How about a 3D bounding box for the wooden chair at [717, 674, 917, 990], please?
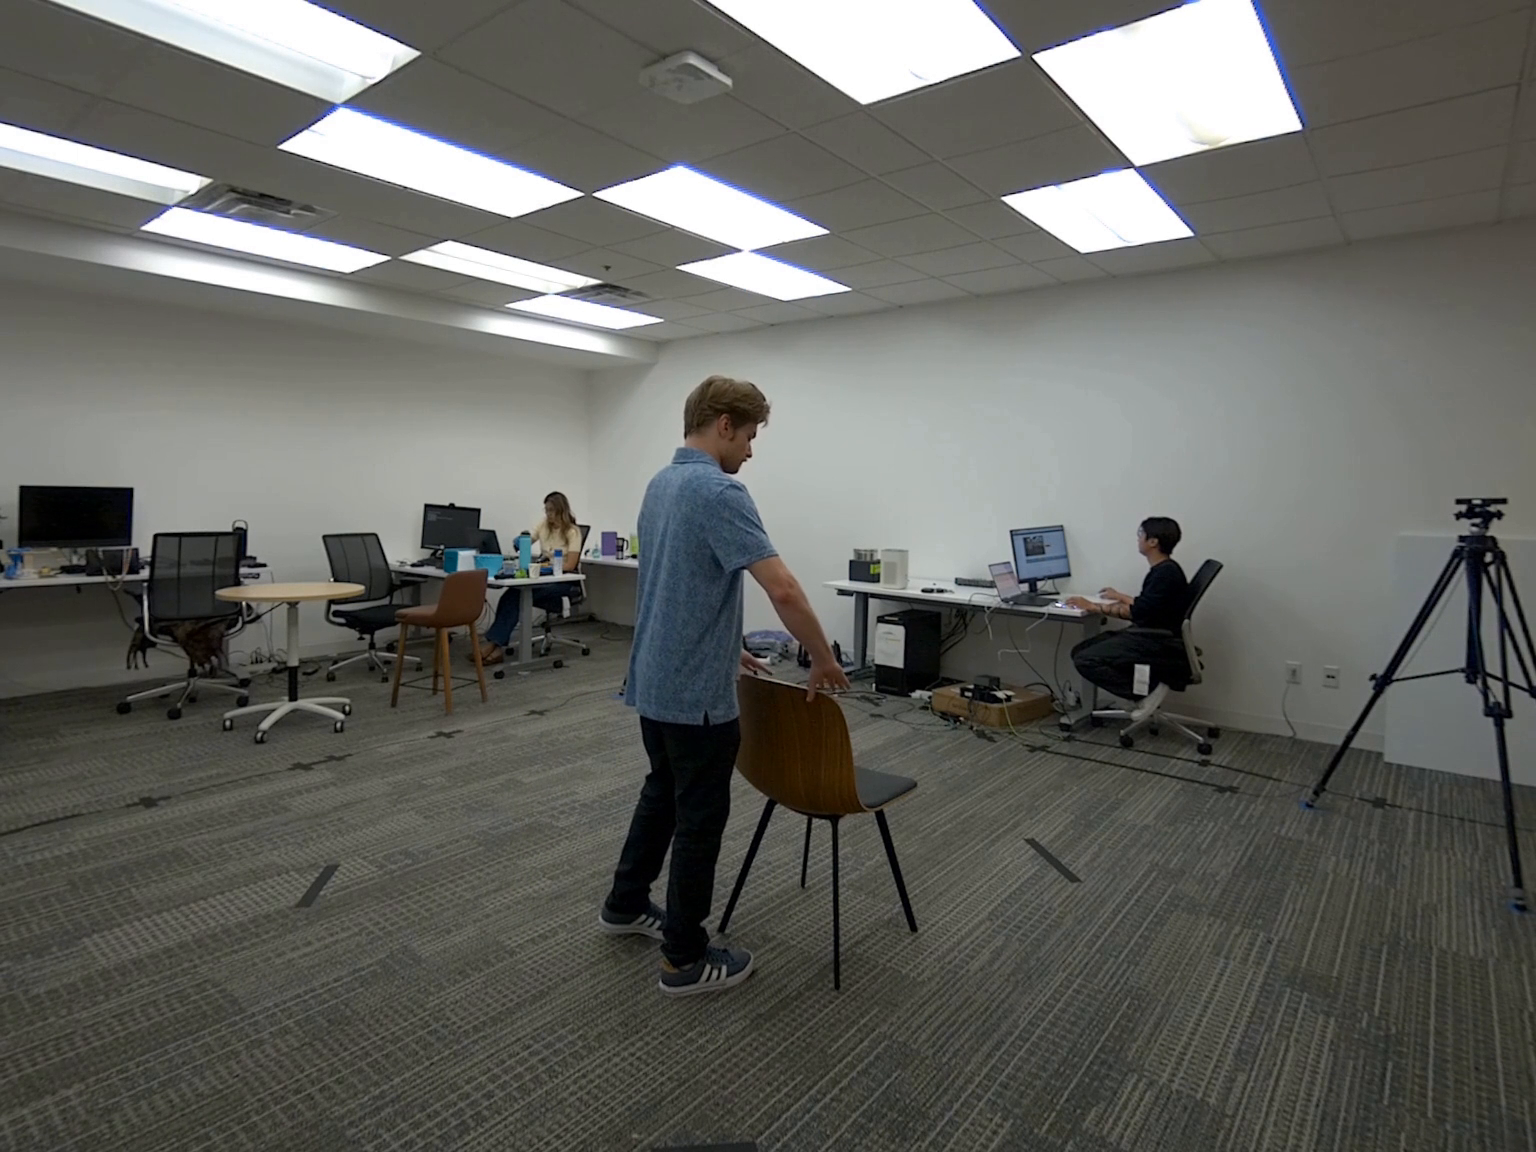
[{"bbox_3d":[0.167,0.693,2.667,0.494,0.872,0.509,4,9,40],"label":"wooden chair"}]
